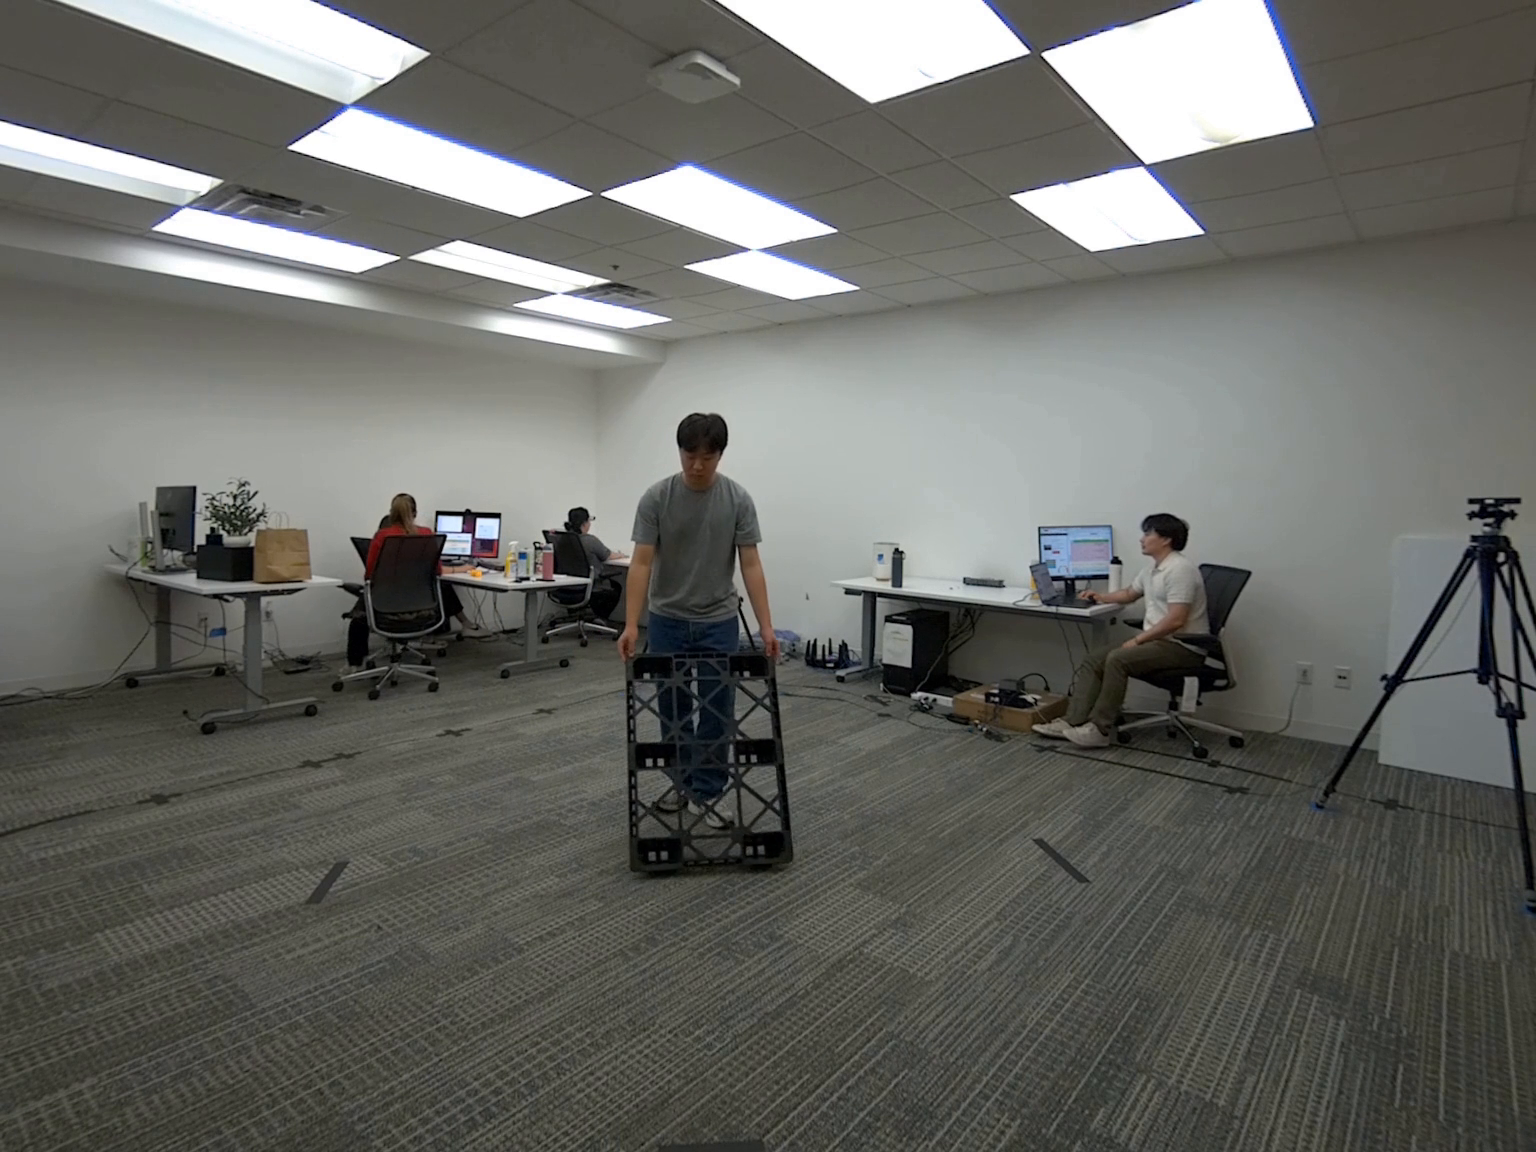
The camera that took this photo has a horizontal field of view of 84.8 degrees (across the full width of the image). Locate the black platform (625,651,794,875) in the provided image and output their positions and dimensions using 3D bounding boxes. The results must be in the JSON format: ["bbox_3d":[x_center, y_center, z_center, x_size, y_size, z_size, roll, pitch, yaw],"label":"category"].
[{"bbox_3d":[-0.258,0.694,3.268,0.599,0.824,0.141,-1,-24,-10],"label":"black platform"}]
